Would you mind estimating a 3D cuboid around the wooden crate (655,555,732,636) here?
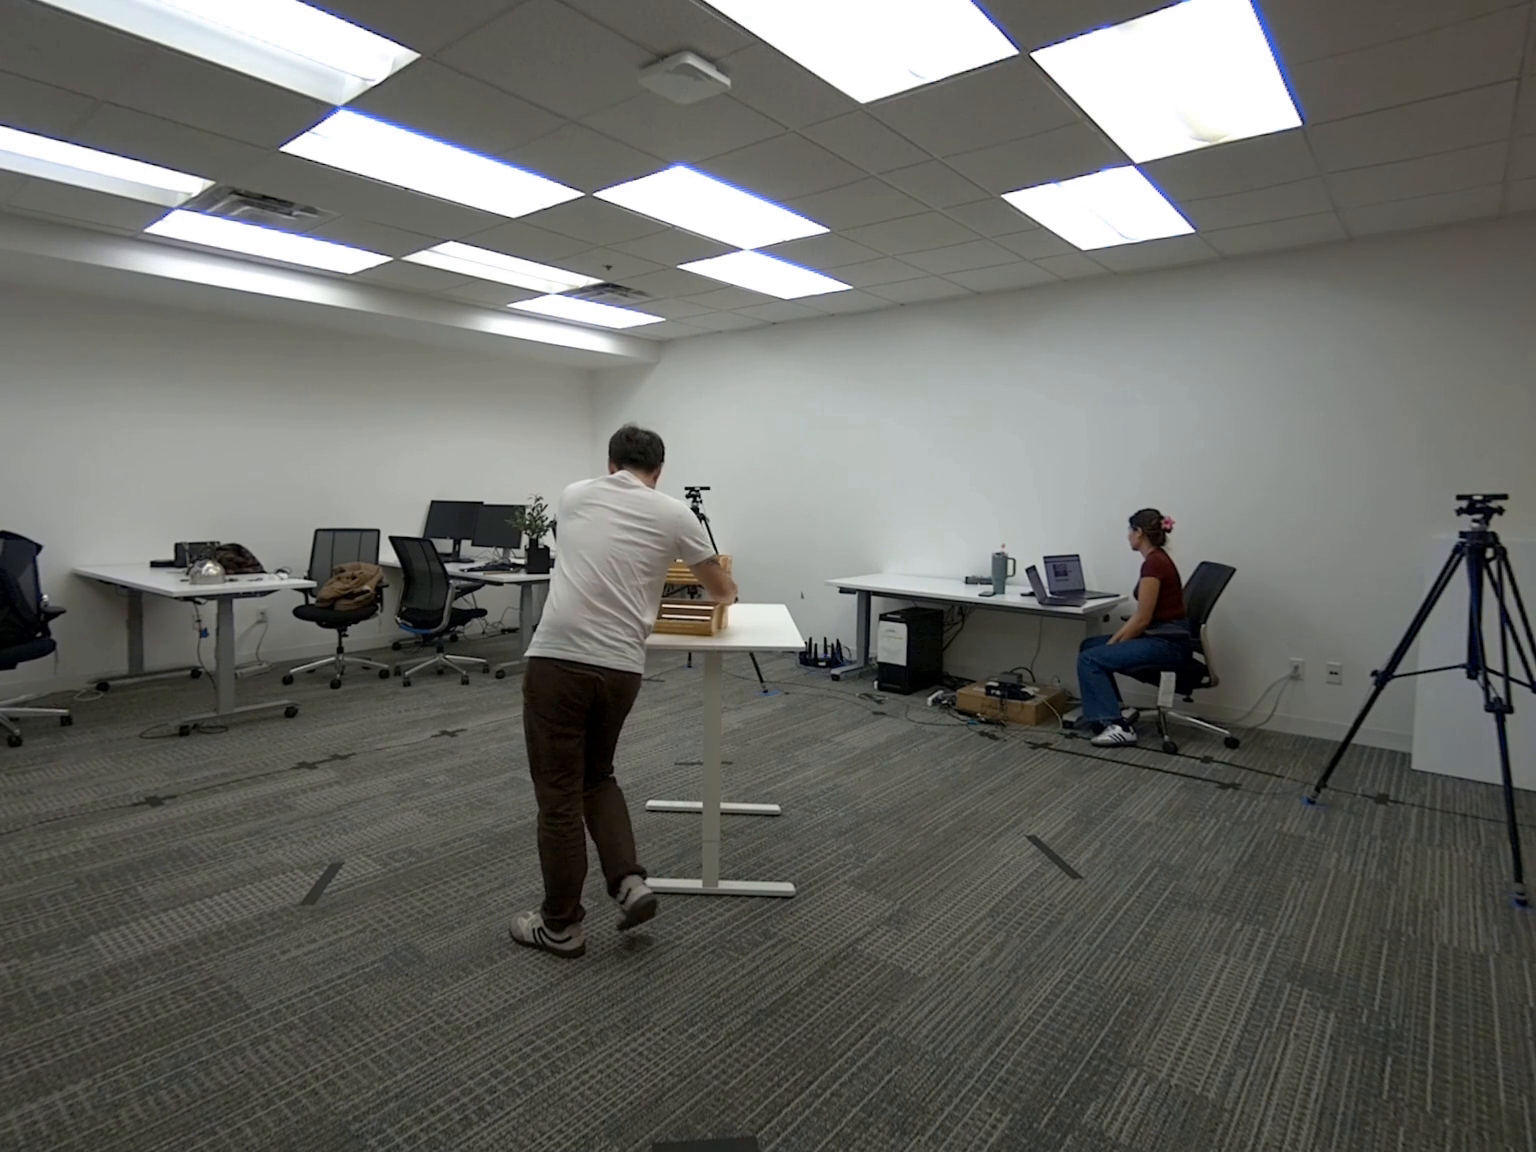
[{"bbox_3d":[-0.319,0.058,3.082,0.329,0.272,0.299,2,4,11],"label":"wooden crate"}]
